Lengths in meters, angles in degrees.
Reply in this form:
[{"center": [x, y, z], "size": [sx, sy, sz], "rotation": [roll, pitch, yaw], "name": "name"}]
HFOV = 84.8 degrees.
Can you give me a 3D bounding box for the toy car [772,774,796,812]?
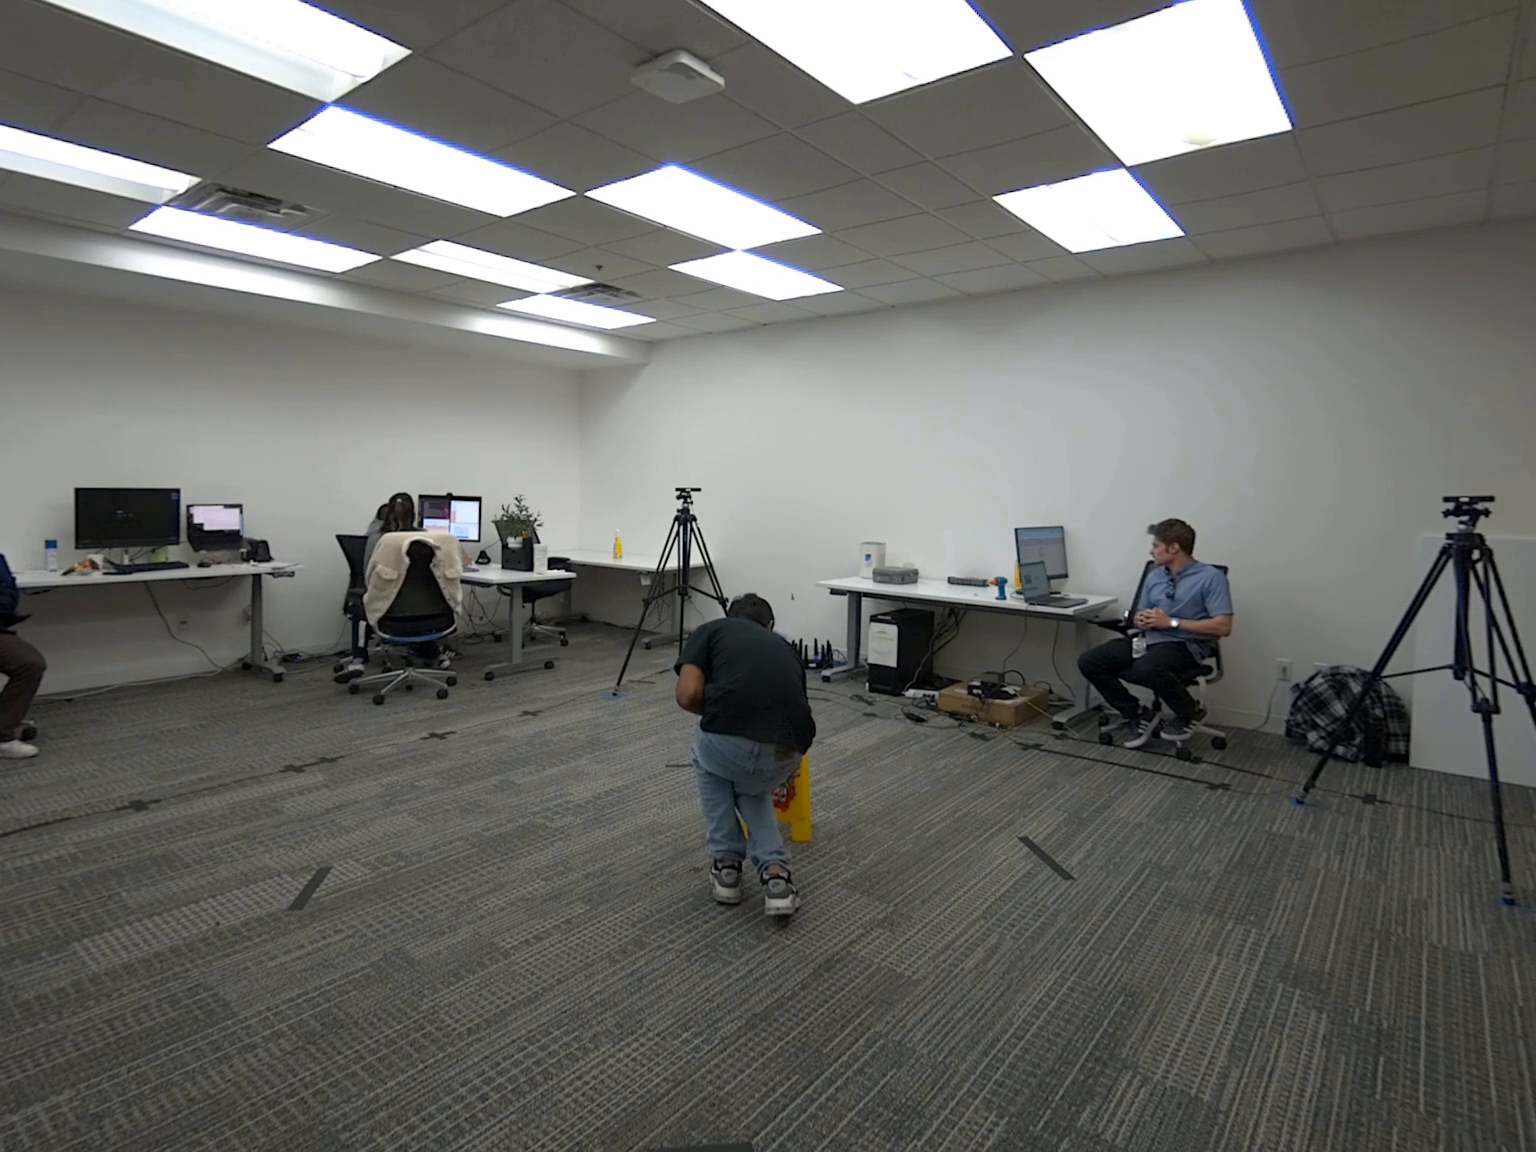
[{"center": [0.053, 0.791, 3.367], "size": [0.131, 0.258, 0.081], "rotation": [6, -18, 5], "name": "toy car"}]
